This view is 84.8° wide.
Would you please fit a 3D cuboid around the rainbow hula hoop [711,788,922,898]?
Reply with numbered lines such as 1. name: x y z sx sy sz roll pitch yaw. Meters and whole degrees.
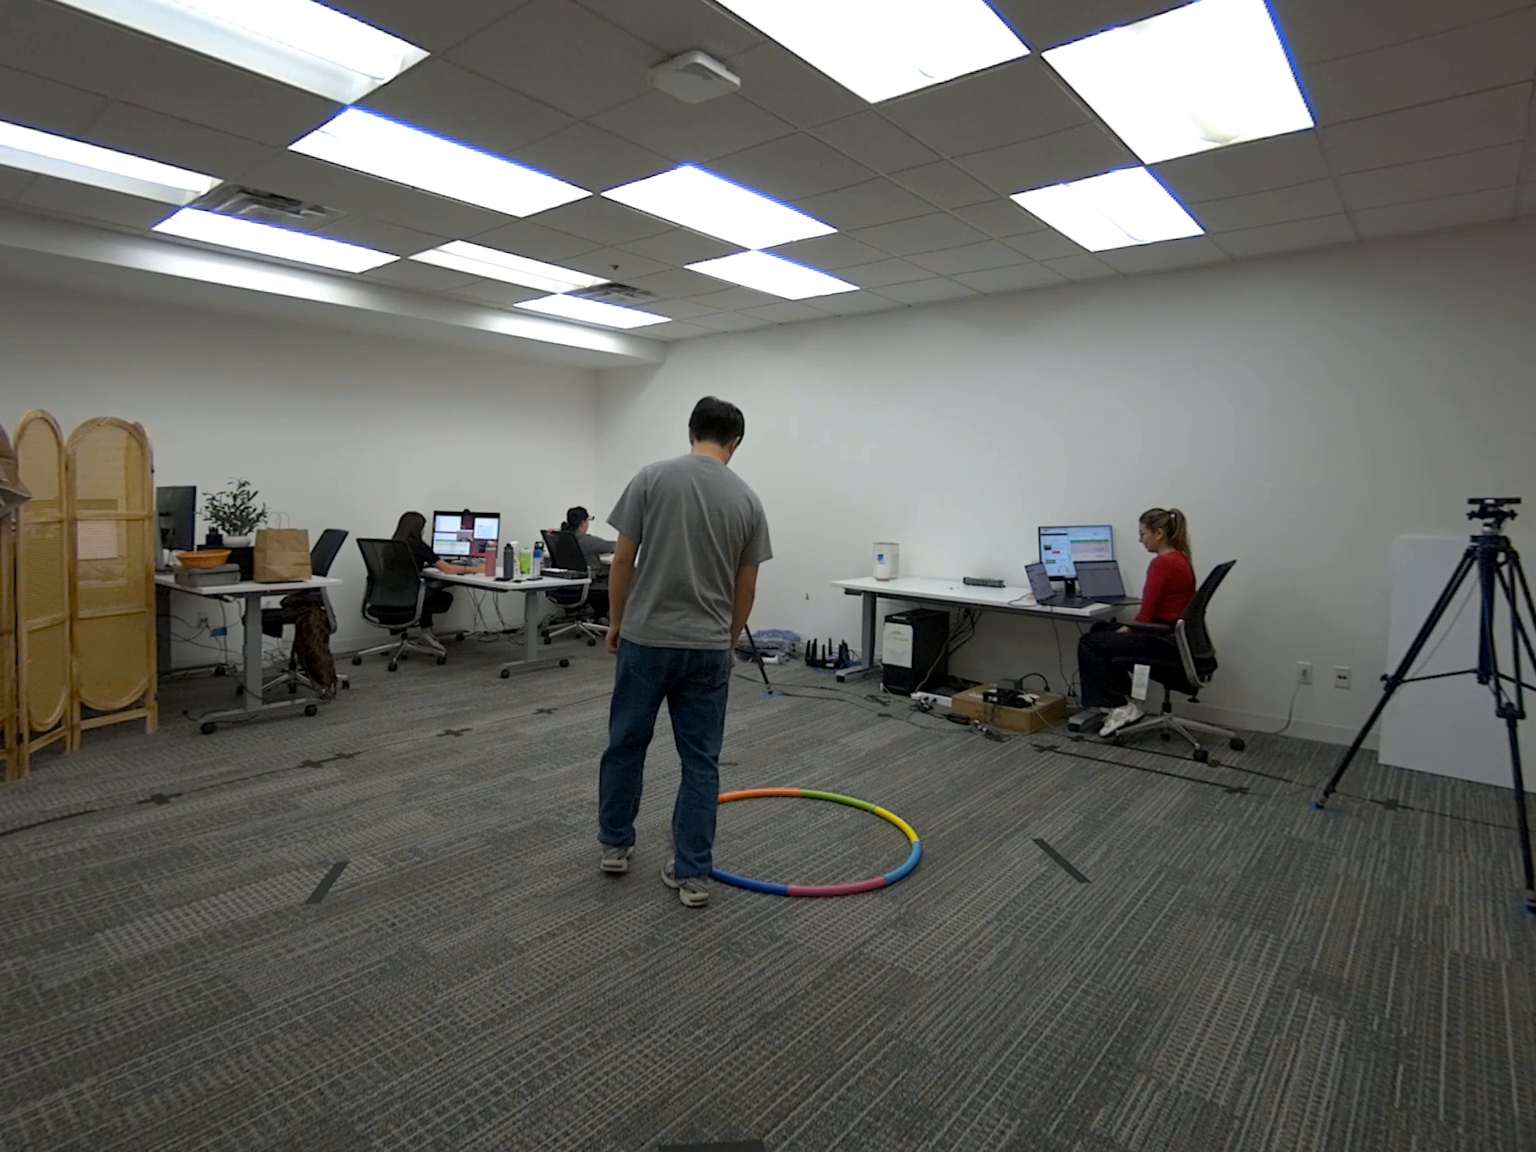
1. rainbow hula hoop: 0.097 1.017 3.379 0.978 0.035 0.984 1 6 -2
